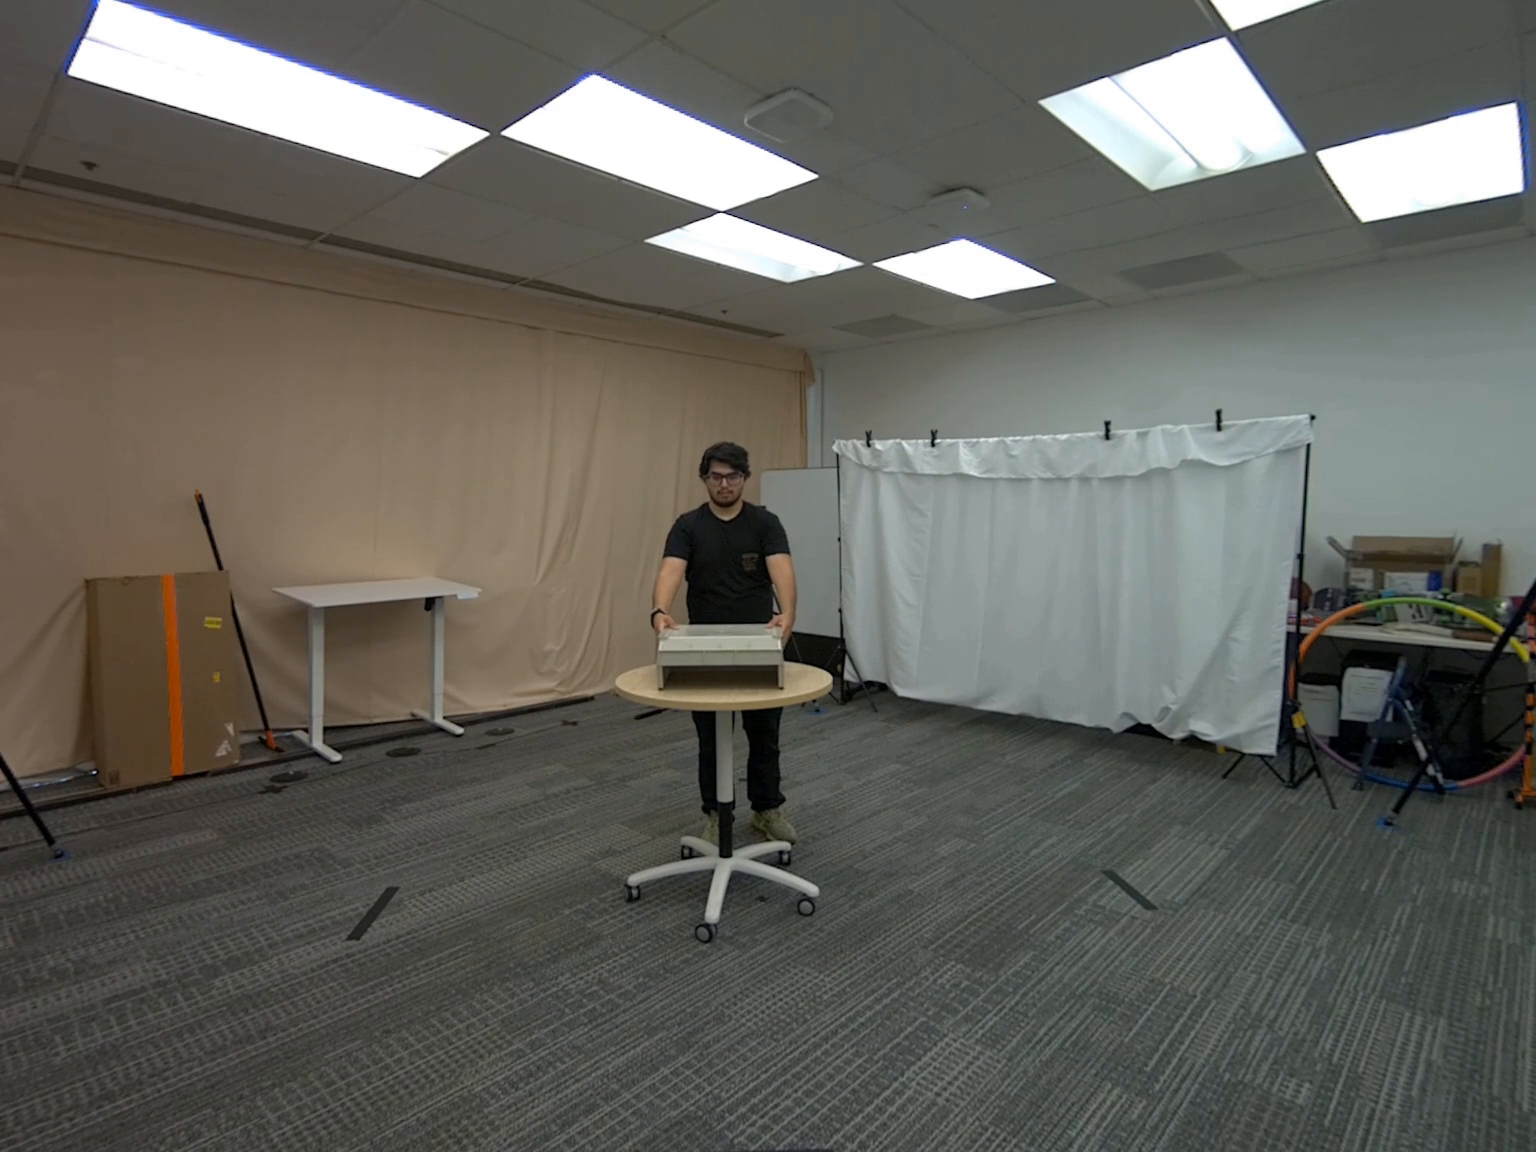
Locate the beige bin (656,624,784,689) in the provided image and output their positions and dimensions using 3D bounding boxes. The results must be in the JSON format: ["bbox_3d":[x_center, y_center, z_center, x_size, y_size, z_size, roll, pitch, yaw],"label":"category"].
[{"bbox_3d":[-0.162,0.277,2.917,0.423,0.188,0.377,-1,4,1],"label":"beige bin"}]
